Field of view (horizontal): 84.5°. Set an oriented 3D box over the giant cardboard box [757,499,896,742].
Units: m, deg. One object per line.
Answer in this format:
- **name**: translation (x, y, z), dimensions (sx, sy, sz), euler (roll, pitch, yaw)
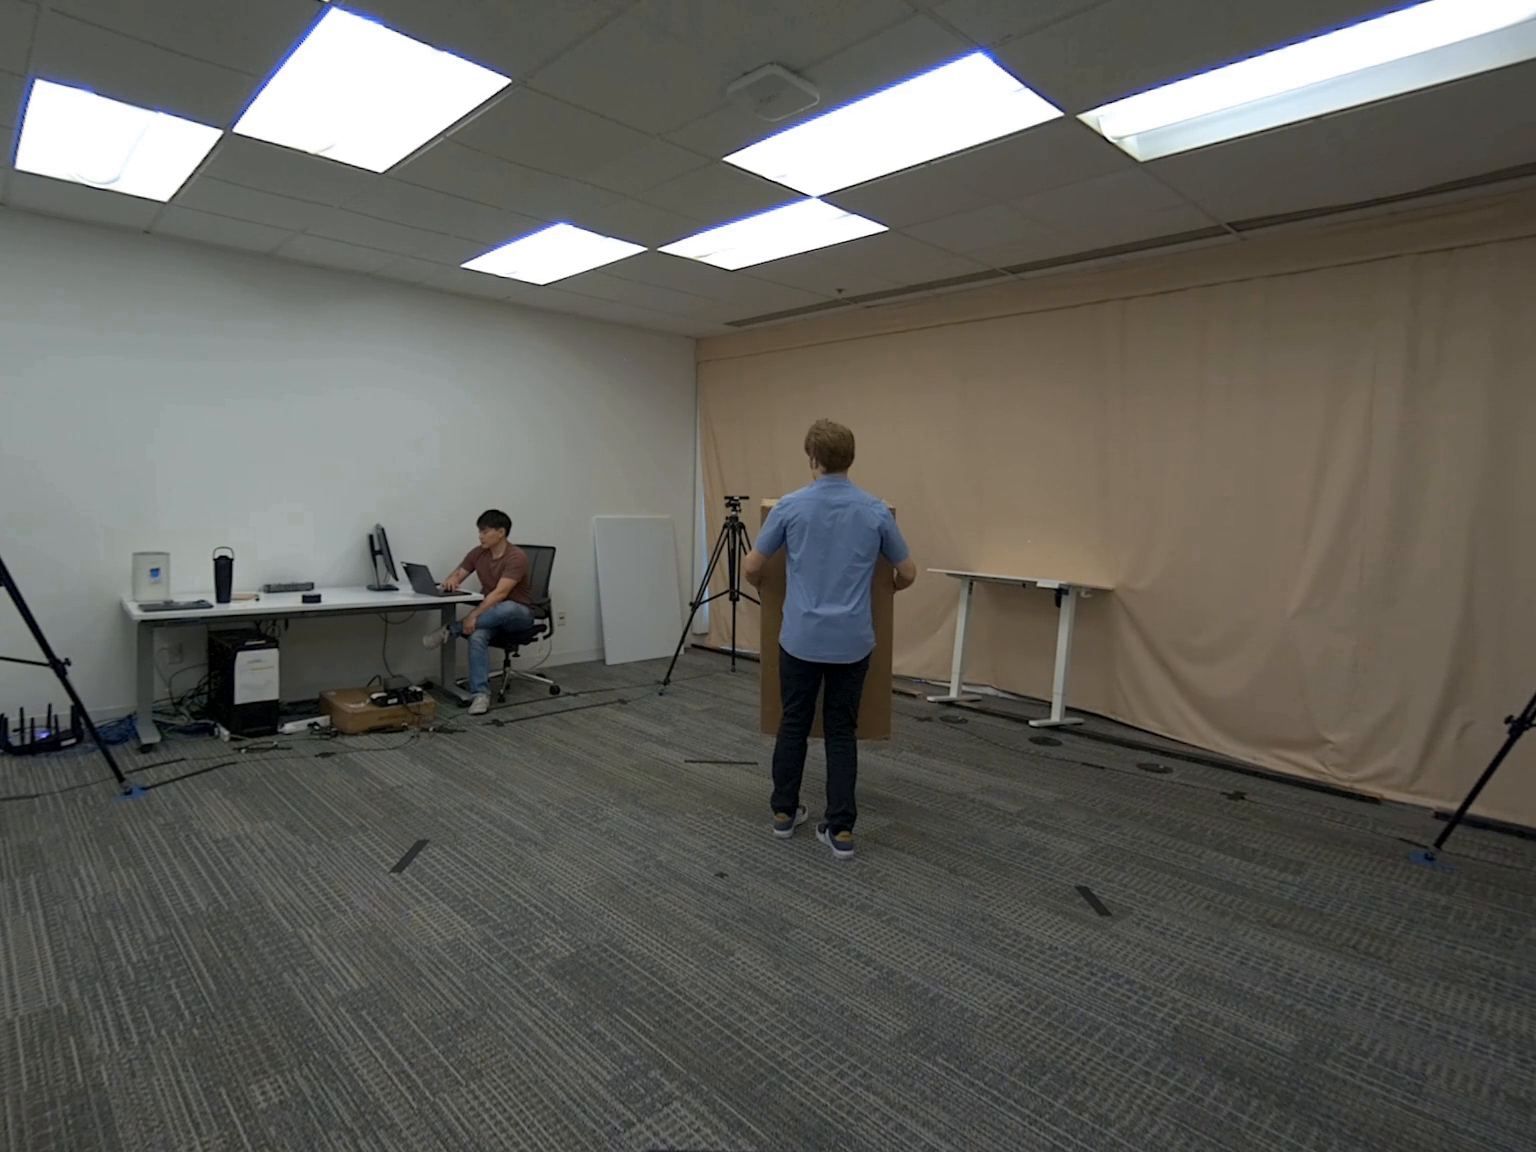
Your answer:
- **giant cardboard box**: translation (0.246, 0.178, 3.820), dimensions (0.579, 1.020, 0.427), euler (1, 8, 4)
